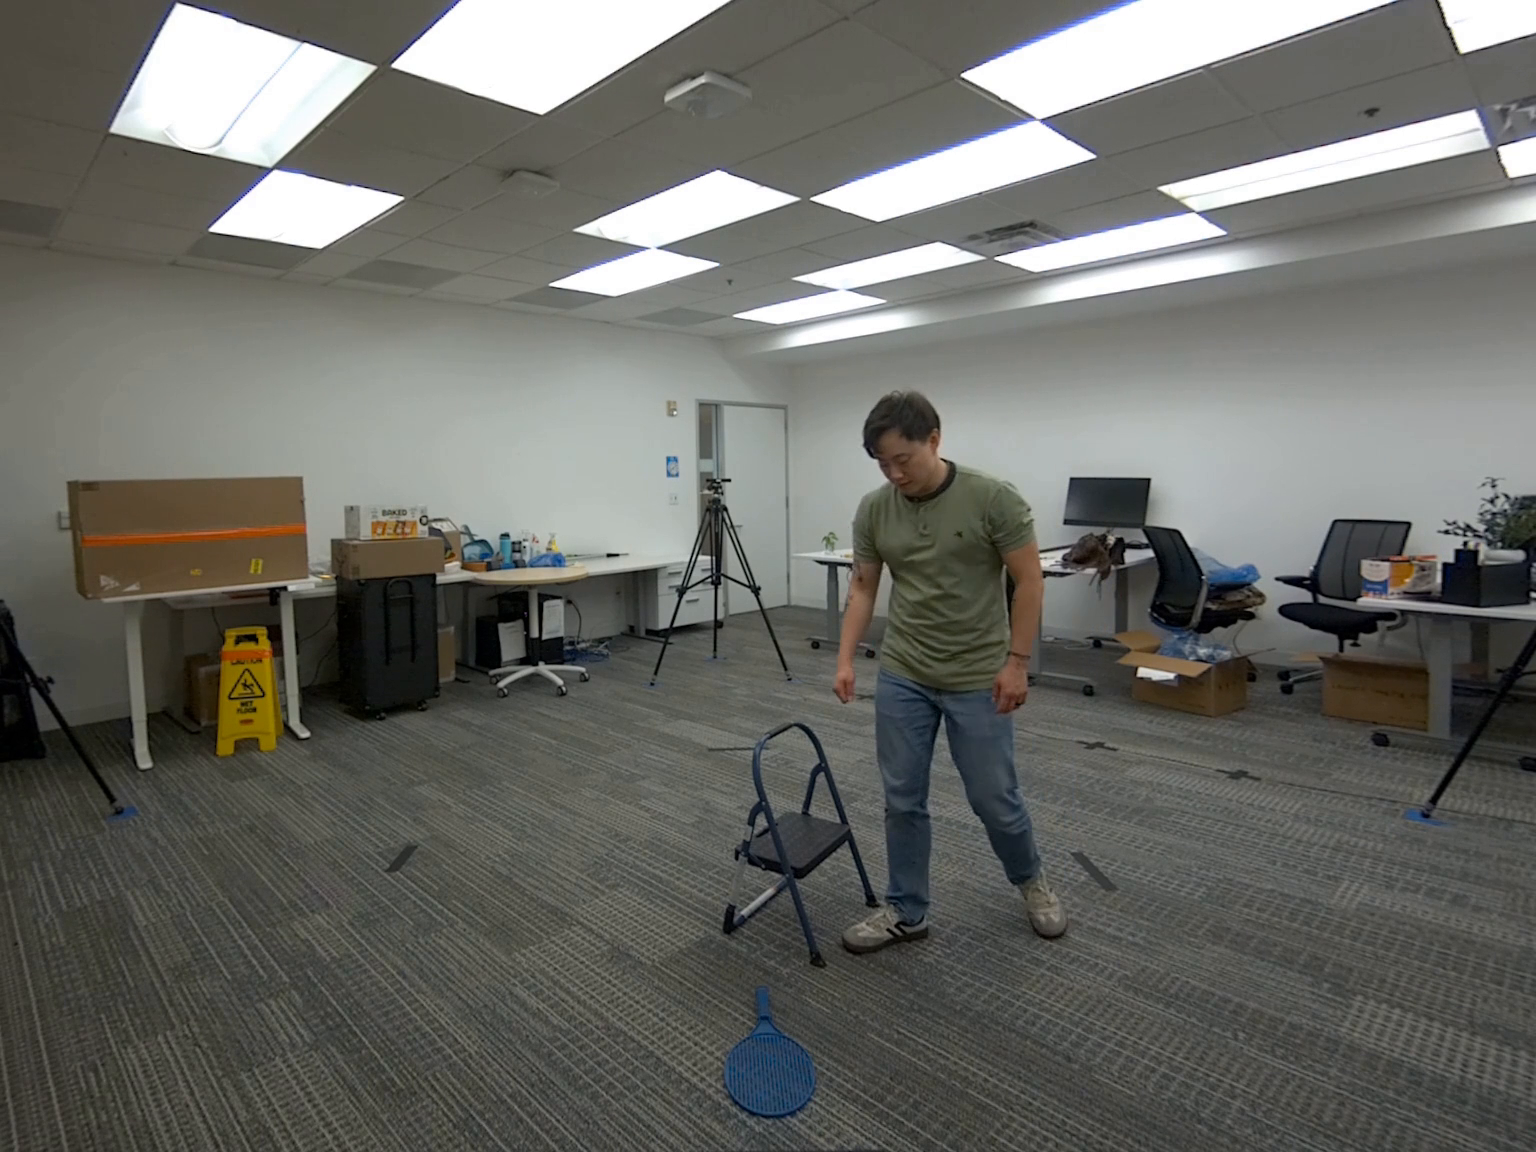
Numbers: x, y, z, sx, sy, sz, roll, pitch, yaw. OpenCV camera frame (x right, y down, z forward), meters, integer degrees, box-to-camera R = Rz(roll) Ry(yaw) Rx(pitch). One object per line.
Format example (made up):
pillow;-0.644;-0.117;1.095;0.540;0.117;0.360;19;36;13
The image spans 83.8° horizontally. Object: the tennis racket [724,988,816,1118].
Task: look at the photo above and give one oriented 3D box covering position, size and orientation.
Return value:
tennis racket;0.007;1.160;2.080;0.214;0.031;0.435;-2;8;-1
